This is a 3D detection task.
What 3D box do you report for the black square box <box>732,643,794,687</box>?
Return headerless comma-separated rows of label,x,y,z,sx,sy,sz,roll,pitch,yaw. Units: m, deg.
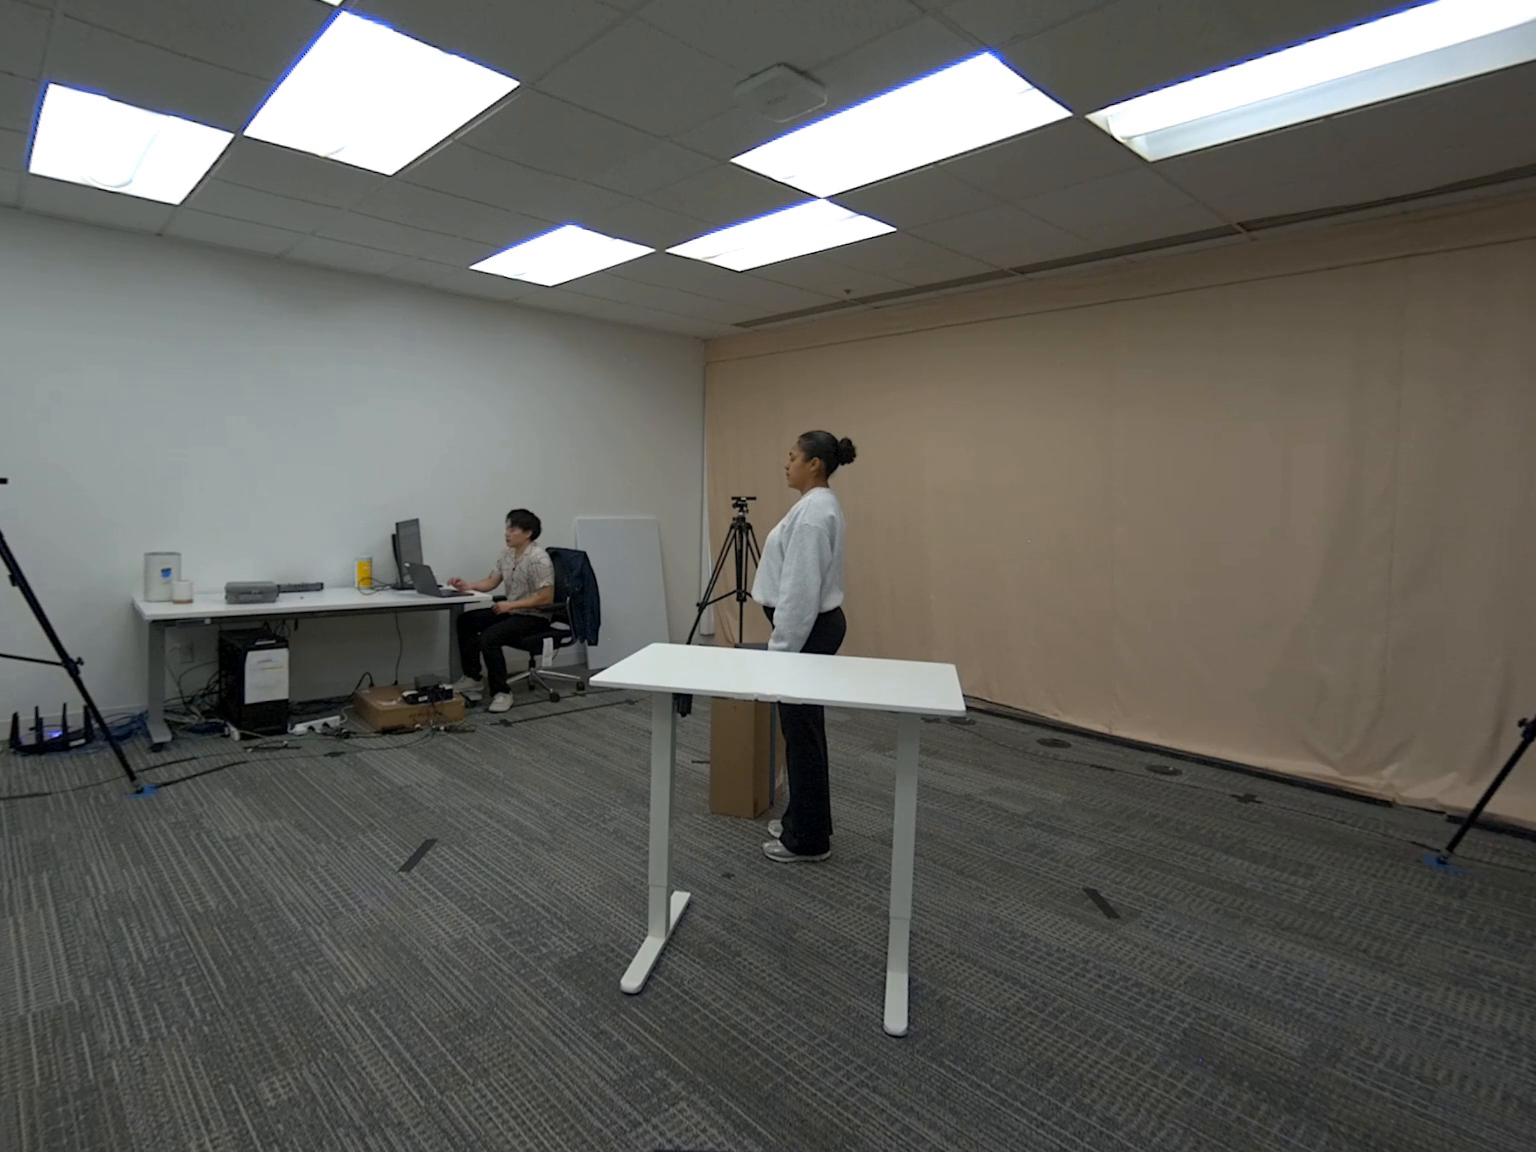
black square box,-0.028,0.401,3.862,0.226,0.155,0.219,0,4,-13
